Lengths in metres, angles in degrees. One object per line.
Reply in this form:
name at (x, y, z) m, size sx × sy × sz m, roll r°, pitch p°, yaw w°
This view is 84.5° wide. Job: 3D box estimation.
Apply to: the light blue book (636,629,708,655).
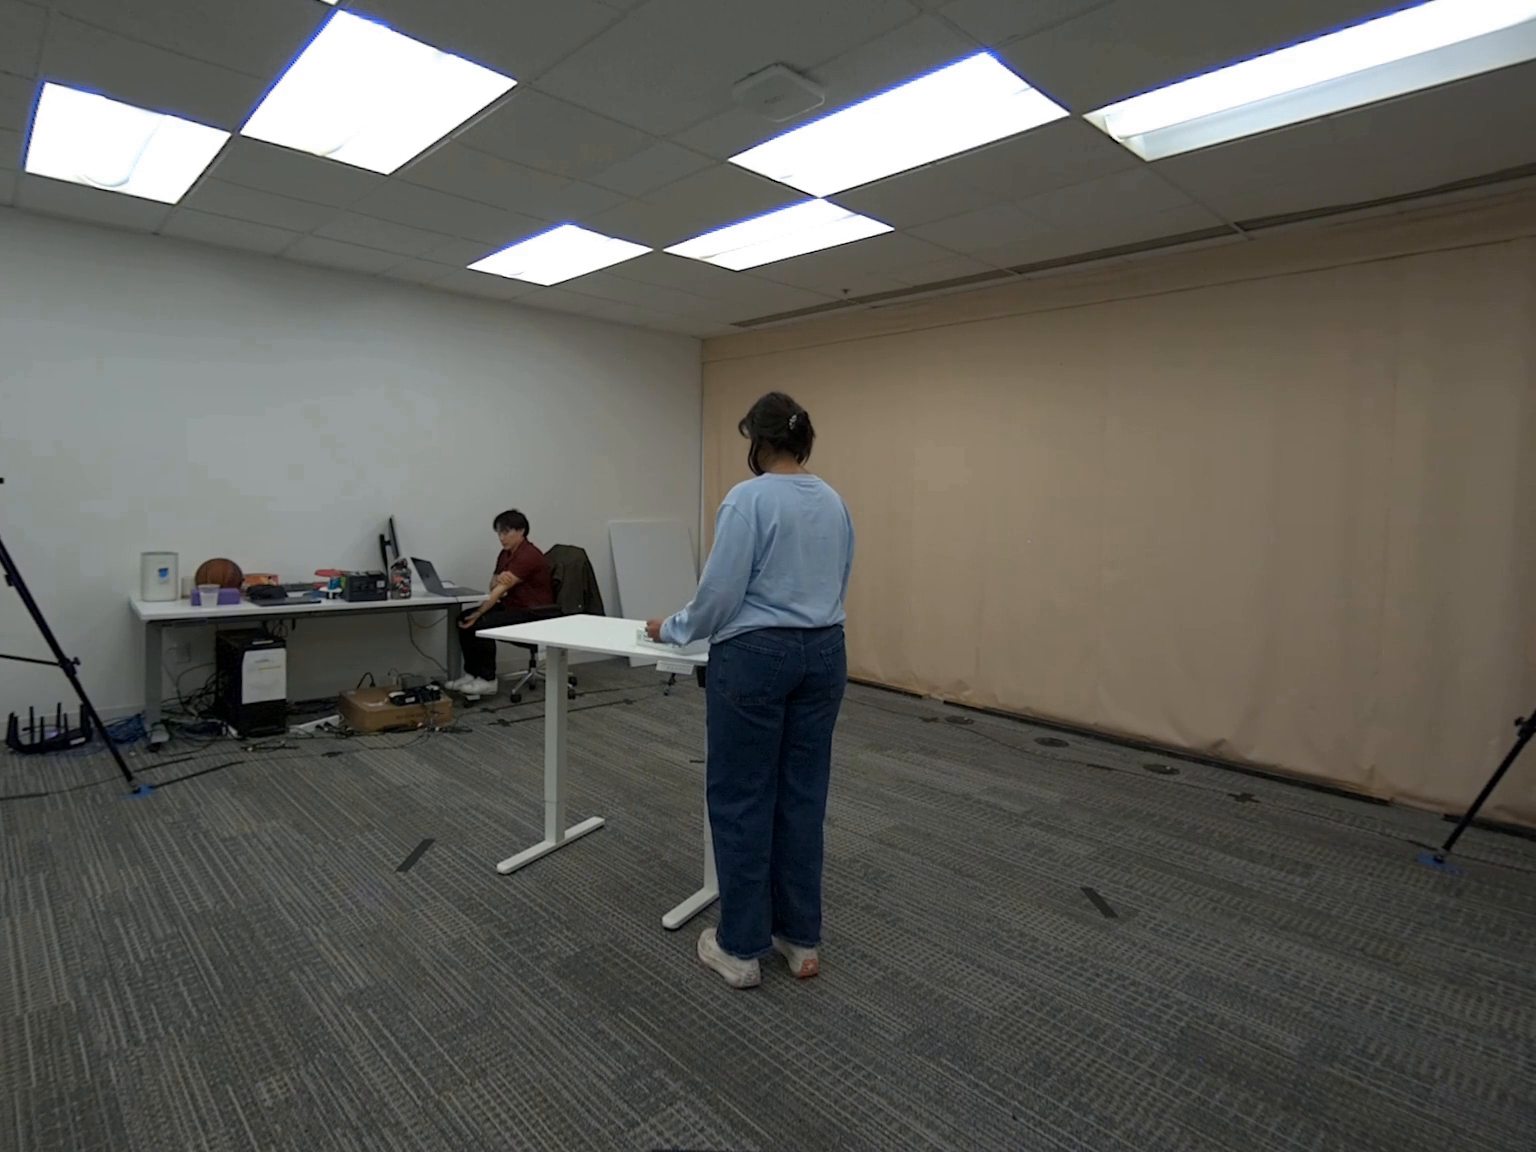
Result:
light blue book at (-0.294, 0.216, 2.829) m, size 0.187 × 0.059 × 0.268 m, roll -4°, pitch 7°, yaw -43°
